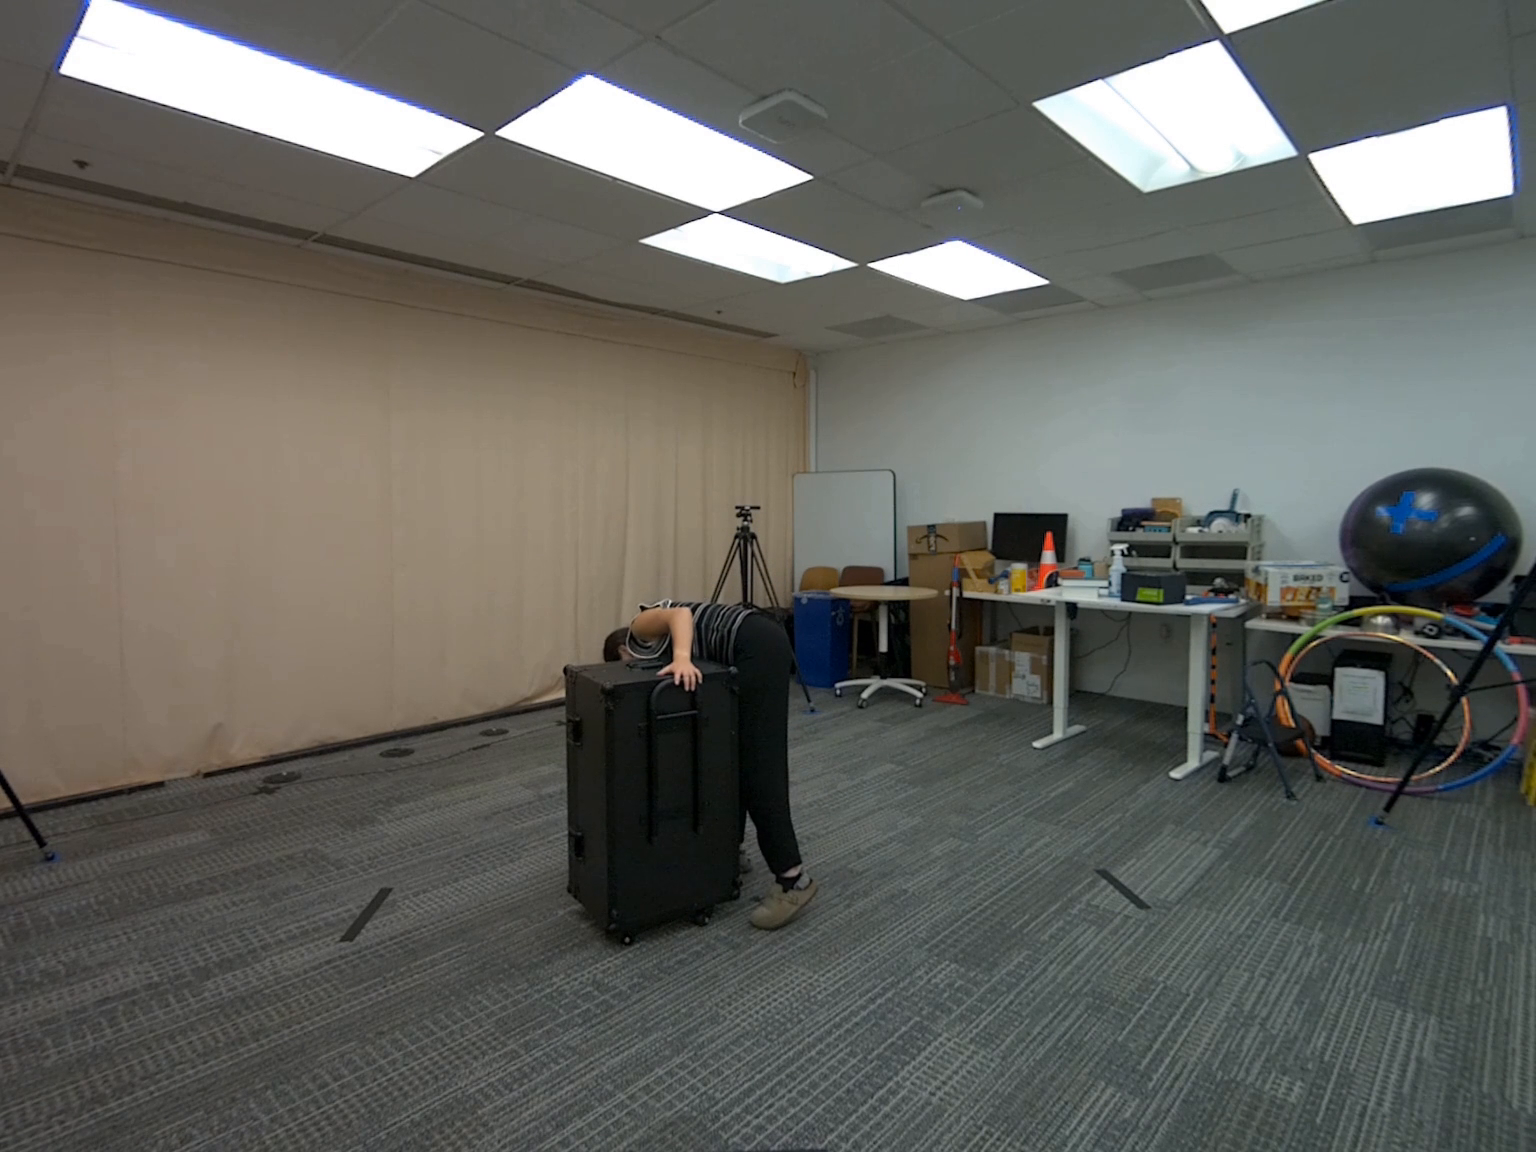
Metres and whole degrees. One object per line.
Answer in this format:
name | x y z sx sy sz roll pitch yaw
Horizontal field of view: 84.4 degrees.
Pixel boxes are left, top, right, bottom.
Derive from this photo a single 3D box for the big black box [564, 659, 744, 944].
big black box | -0.389 0.739 2.835 0.507 0.860 0.408 -2 4 -31
